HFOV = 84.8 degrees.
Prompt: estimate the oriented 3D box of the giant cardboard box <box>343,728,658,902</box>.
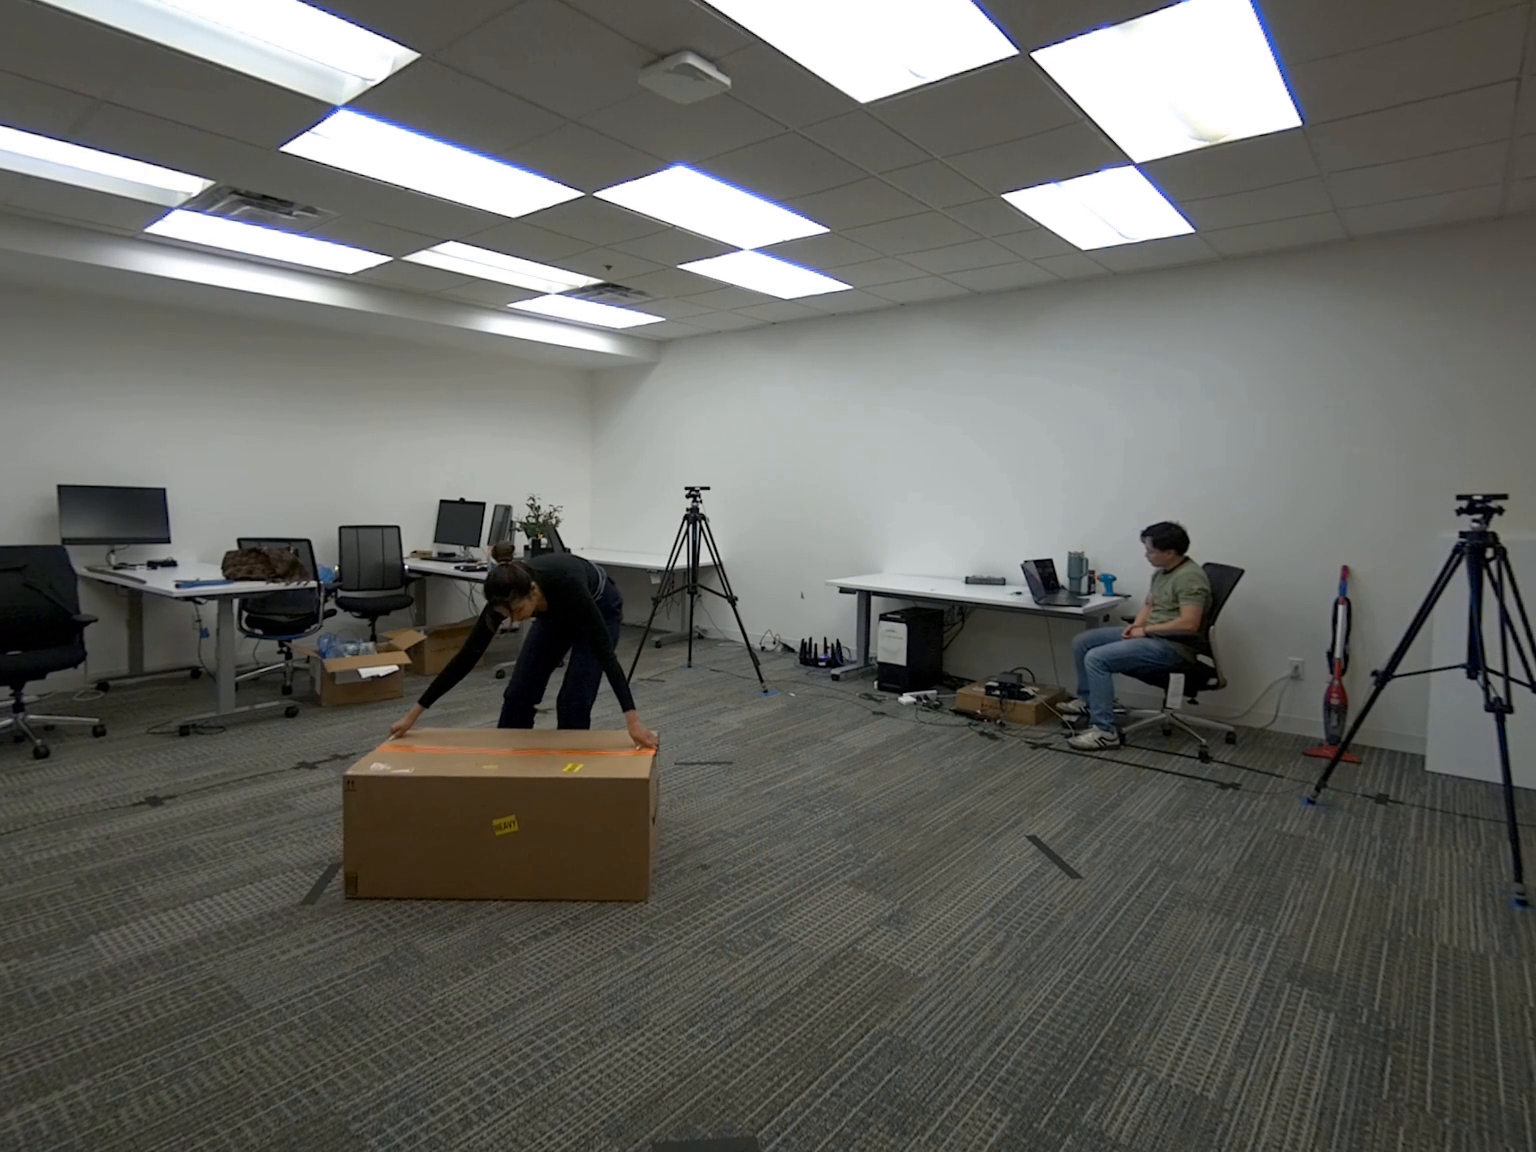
[{"bbox_3d":[-0.940,0.839,3.114,1.025,0.425,0.580,1,5,-1],"label":"giant cardboard box"}]
